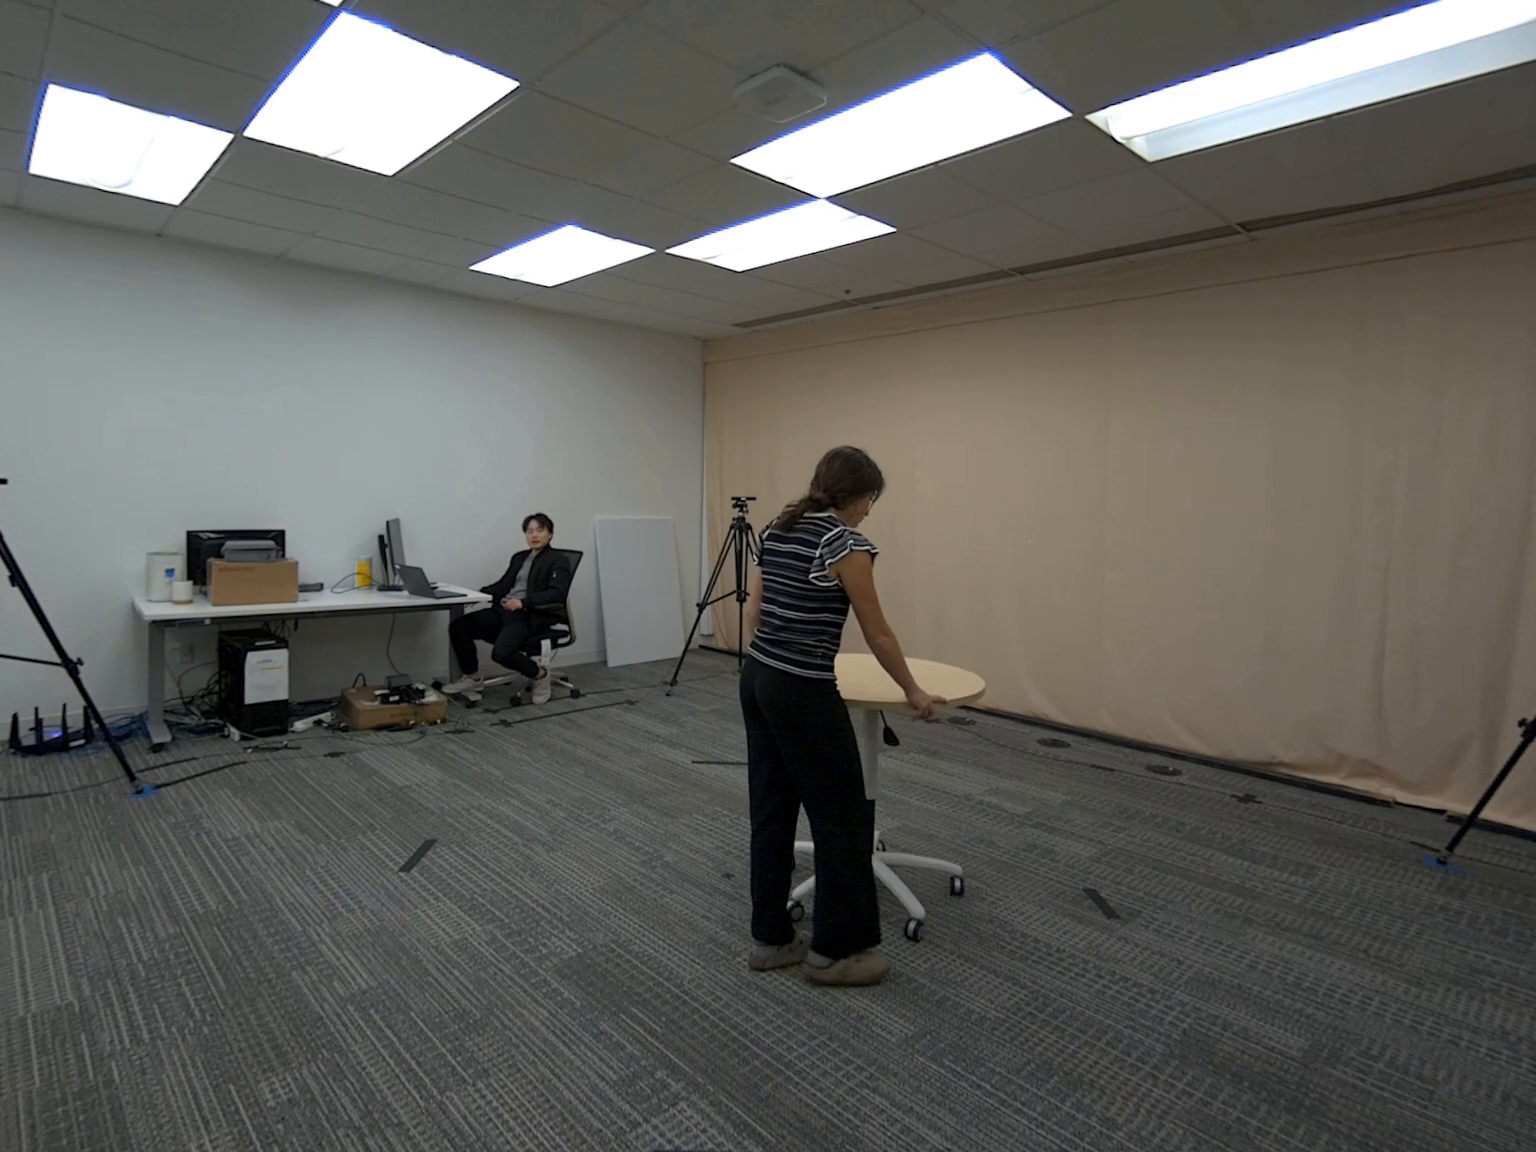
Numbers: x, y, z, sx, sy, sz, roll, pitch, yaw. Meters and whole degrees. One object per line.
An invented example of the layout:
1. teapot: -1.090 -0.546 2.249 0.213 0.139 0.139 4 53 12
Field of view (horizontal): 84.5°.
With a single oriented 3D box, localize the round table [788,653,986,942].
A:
1. round table: 0.353 0.742 2.995 0.763 0.792 0.767 2 4 -1
